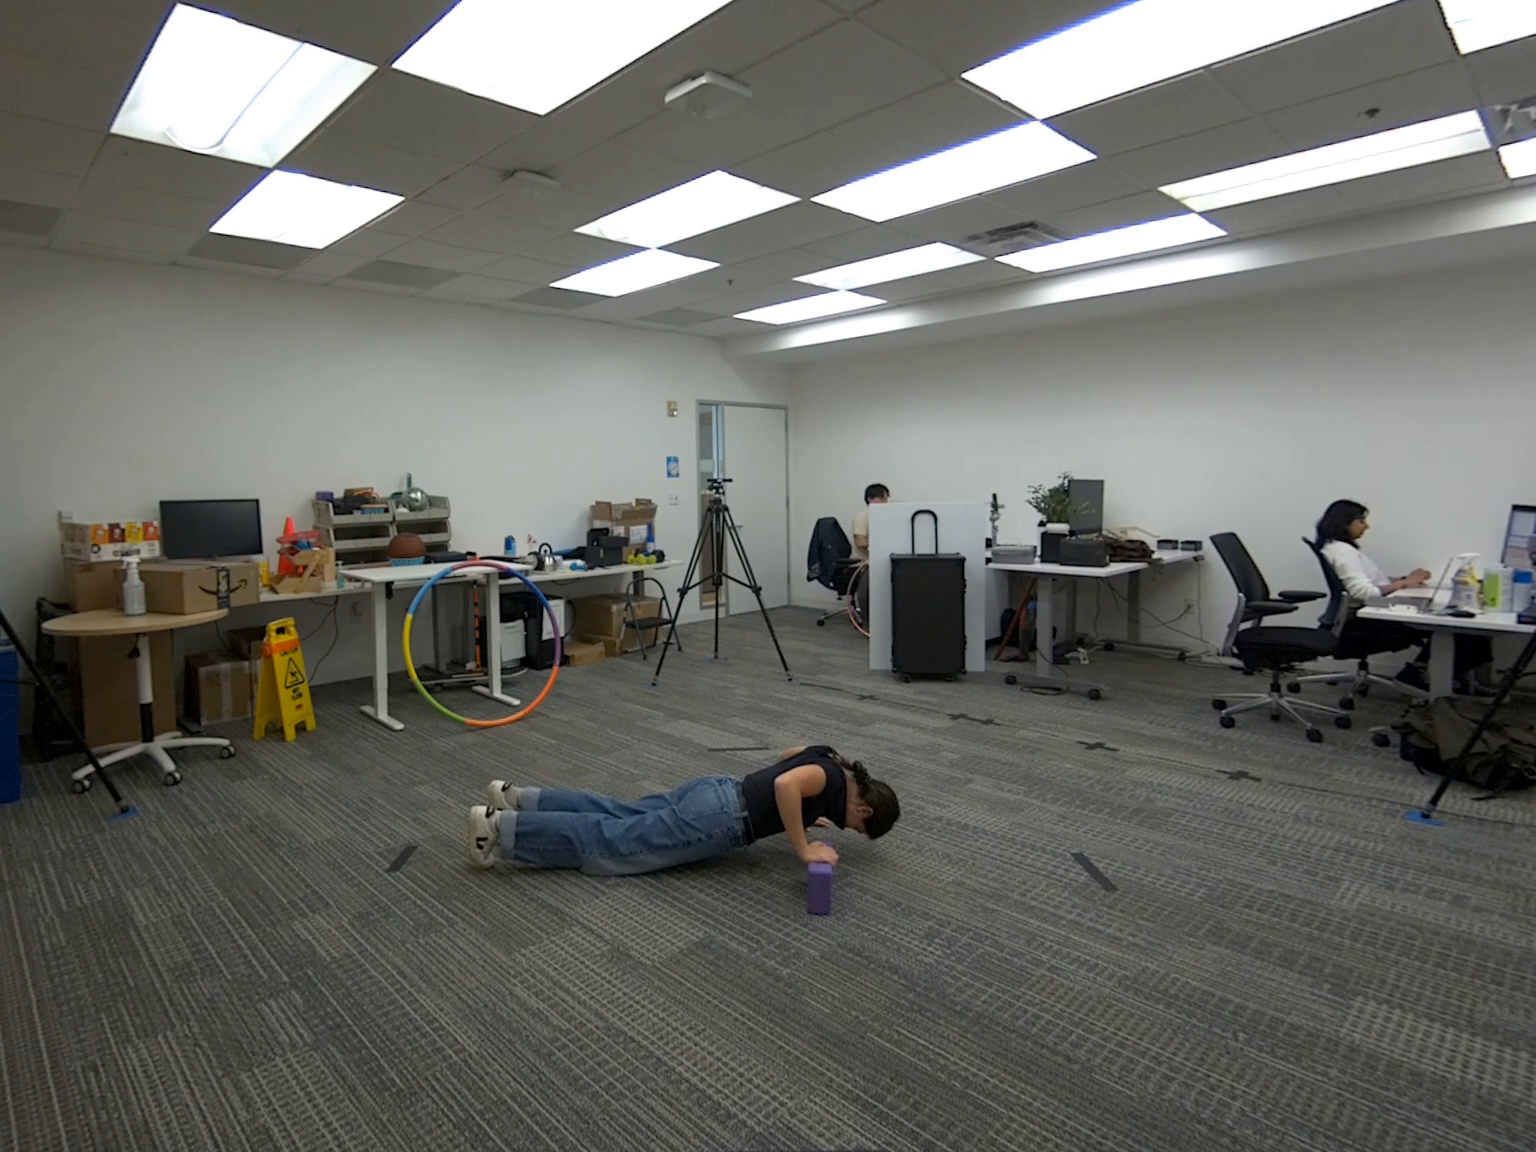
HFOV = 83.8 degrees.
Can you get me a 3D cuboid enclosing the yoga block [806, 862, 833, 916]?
[{"bbox_3d":[0.170,1.005,2.843,0.077,0.148,0.229,-2,4,5],"label":"yoga block"}]
